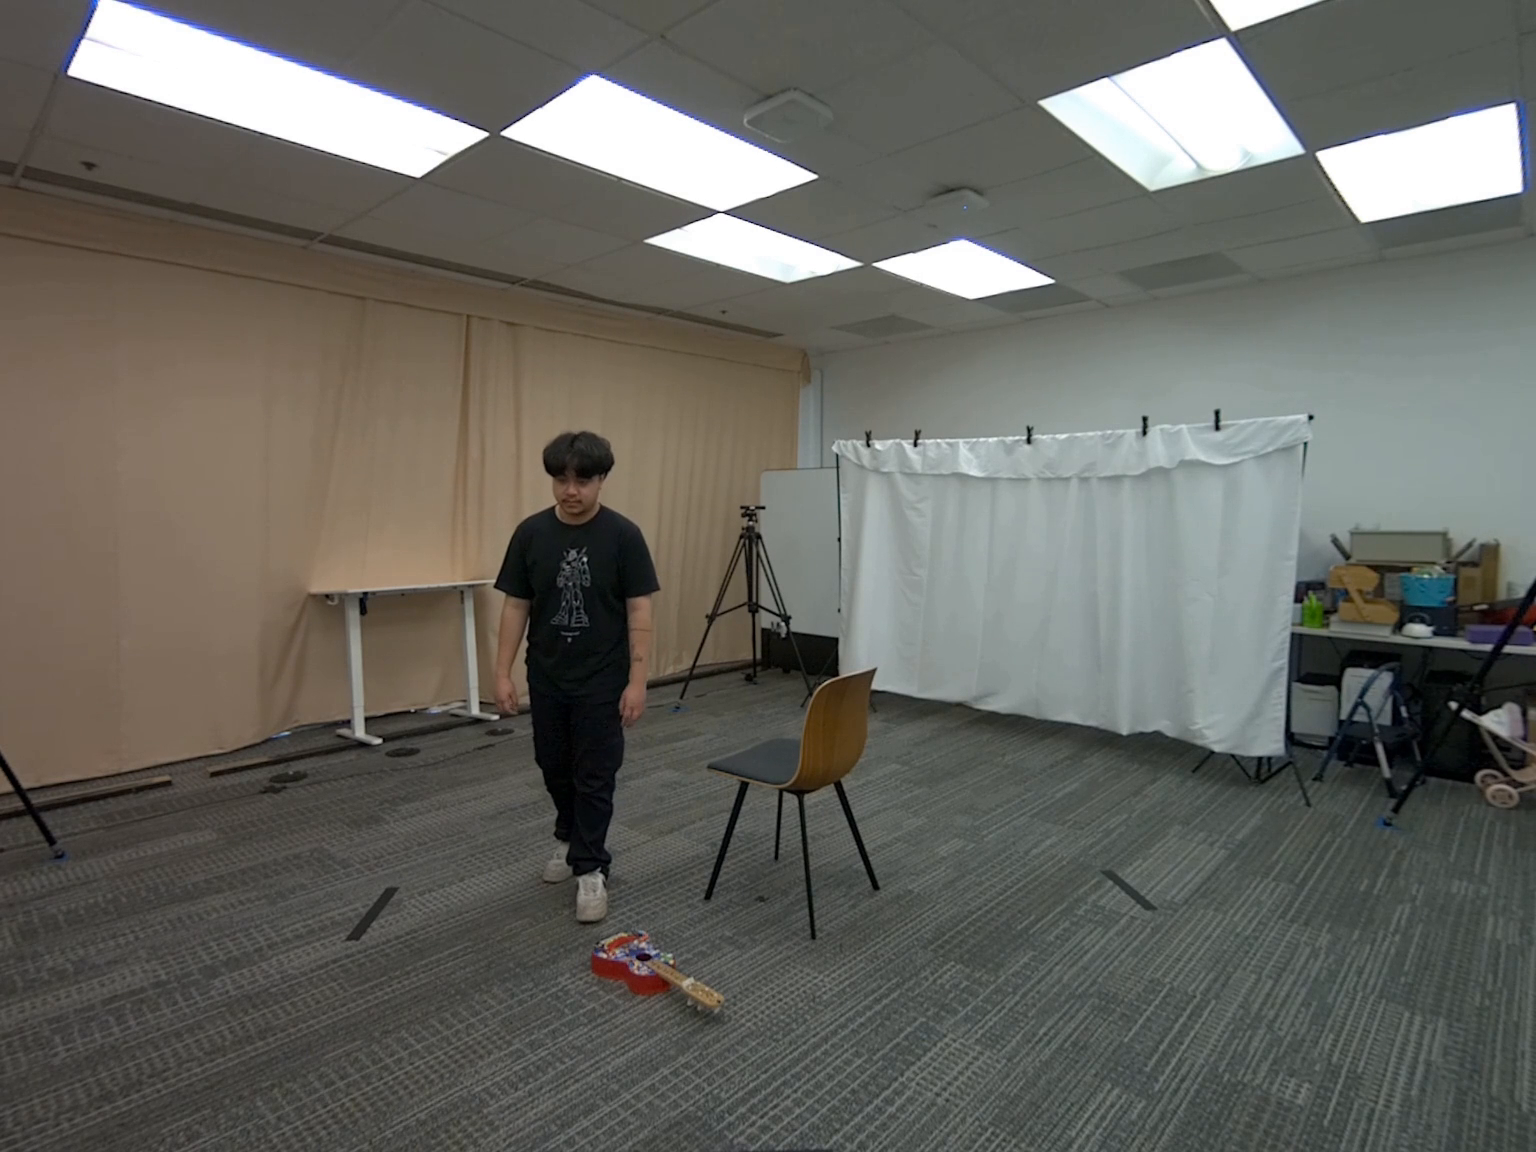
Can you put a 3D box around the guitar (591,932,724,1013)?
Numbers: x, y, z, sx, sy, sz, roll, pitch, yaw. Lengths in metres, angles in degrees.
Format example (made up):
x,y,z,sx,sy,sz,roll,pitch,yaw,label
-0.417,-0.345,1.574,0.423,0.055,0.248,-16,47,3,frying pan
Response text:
x,y,z,sx,sy,sz,roll,pitch,yaw,label
-0.332,1.160,2.416,0.187,0.070,0.514,-3,5,-37,guitar
